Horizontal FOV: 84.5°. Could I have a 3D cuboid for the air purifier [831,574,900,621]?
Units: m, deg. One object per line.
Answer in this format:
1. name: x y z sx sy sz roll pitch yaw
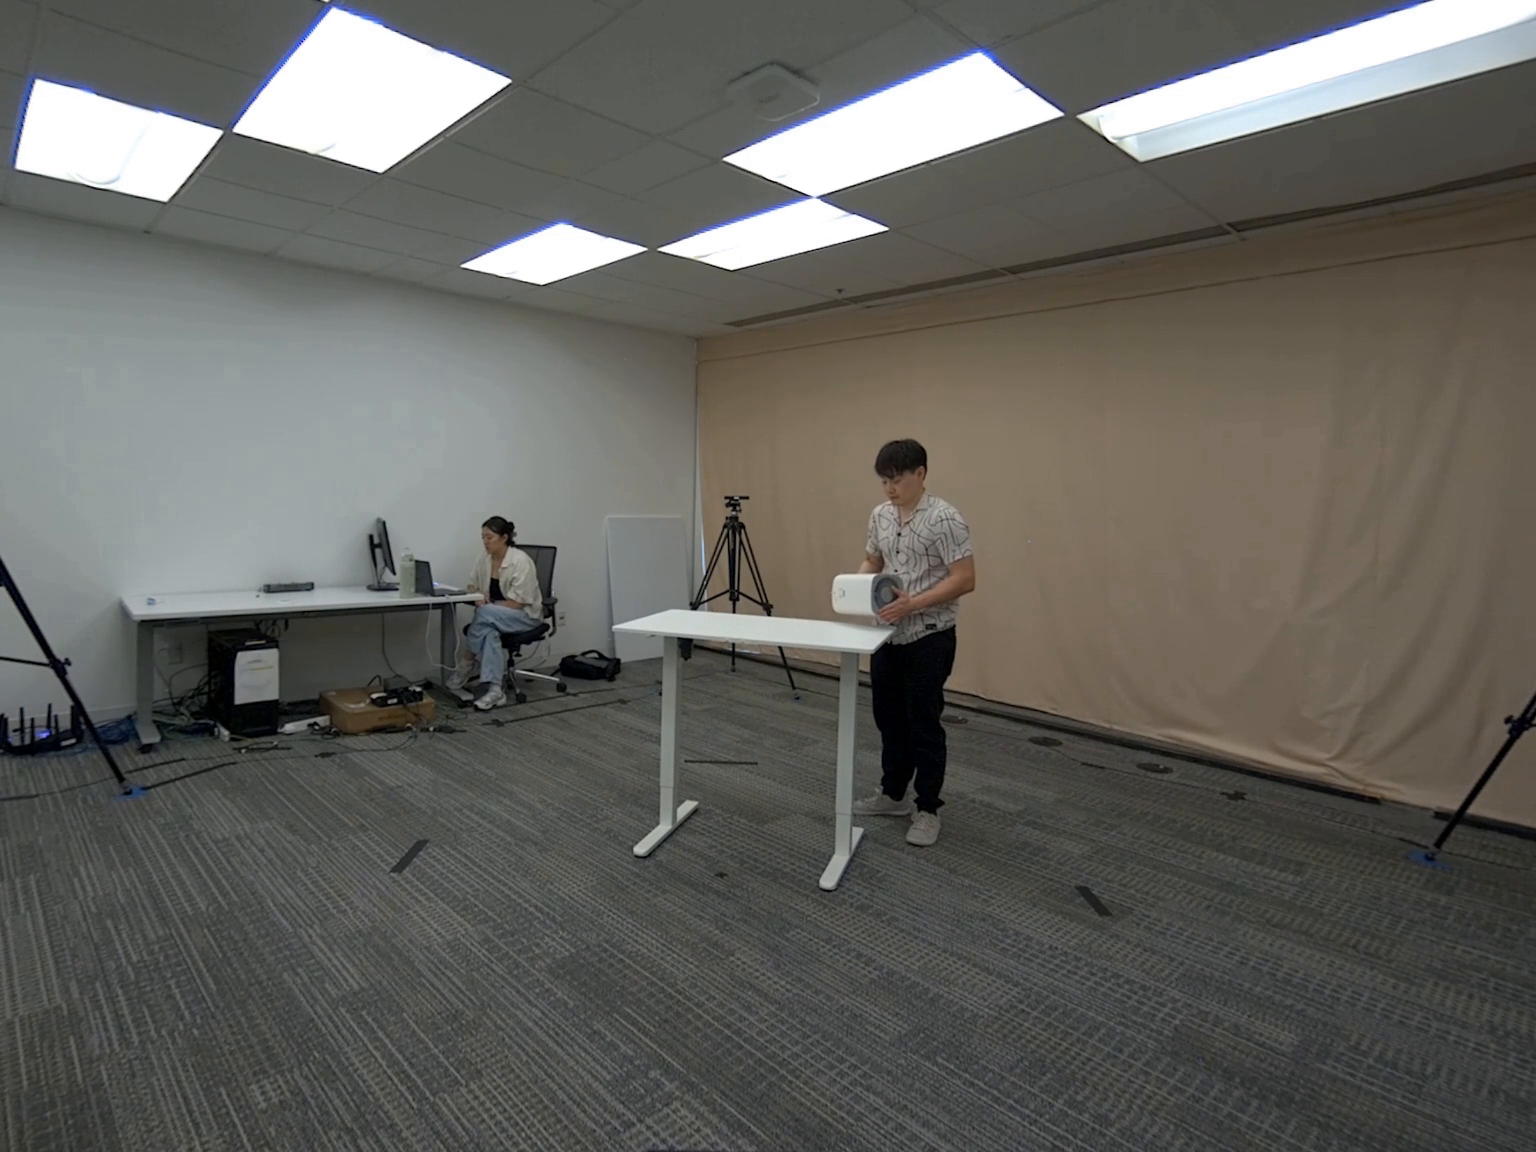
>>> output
1. air purifier: 0.396 0.074 3.455 0.167 0.172 0.271 5 -5 -37
